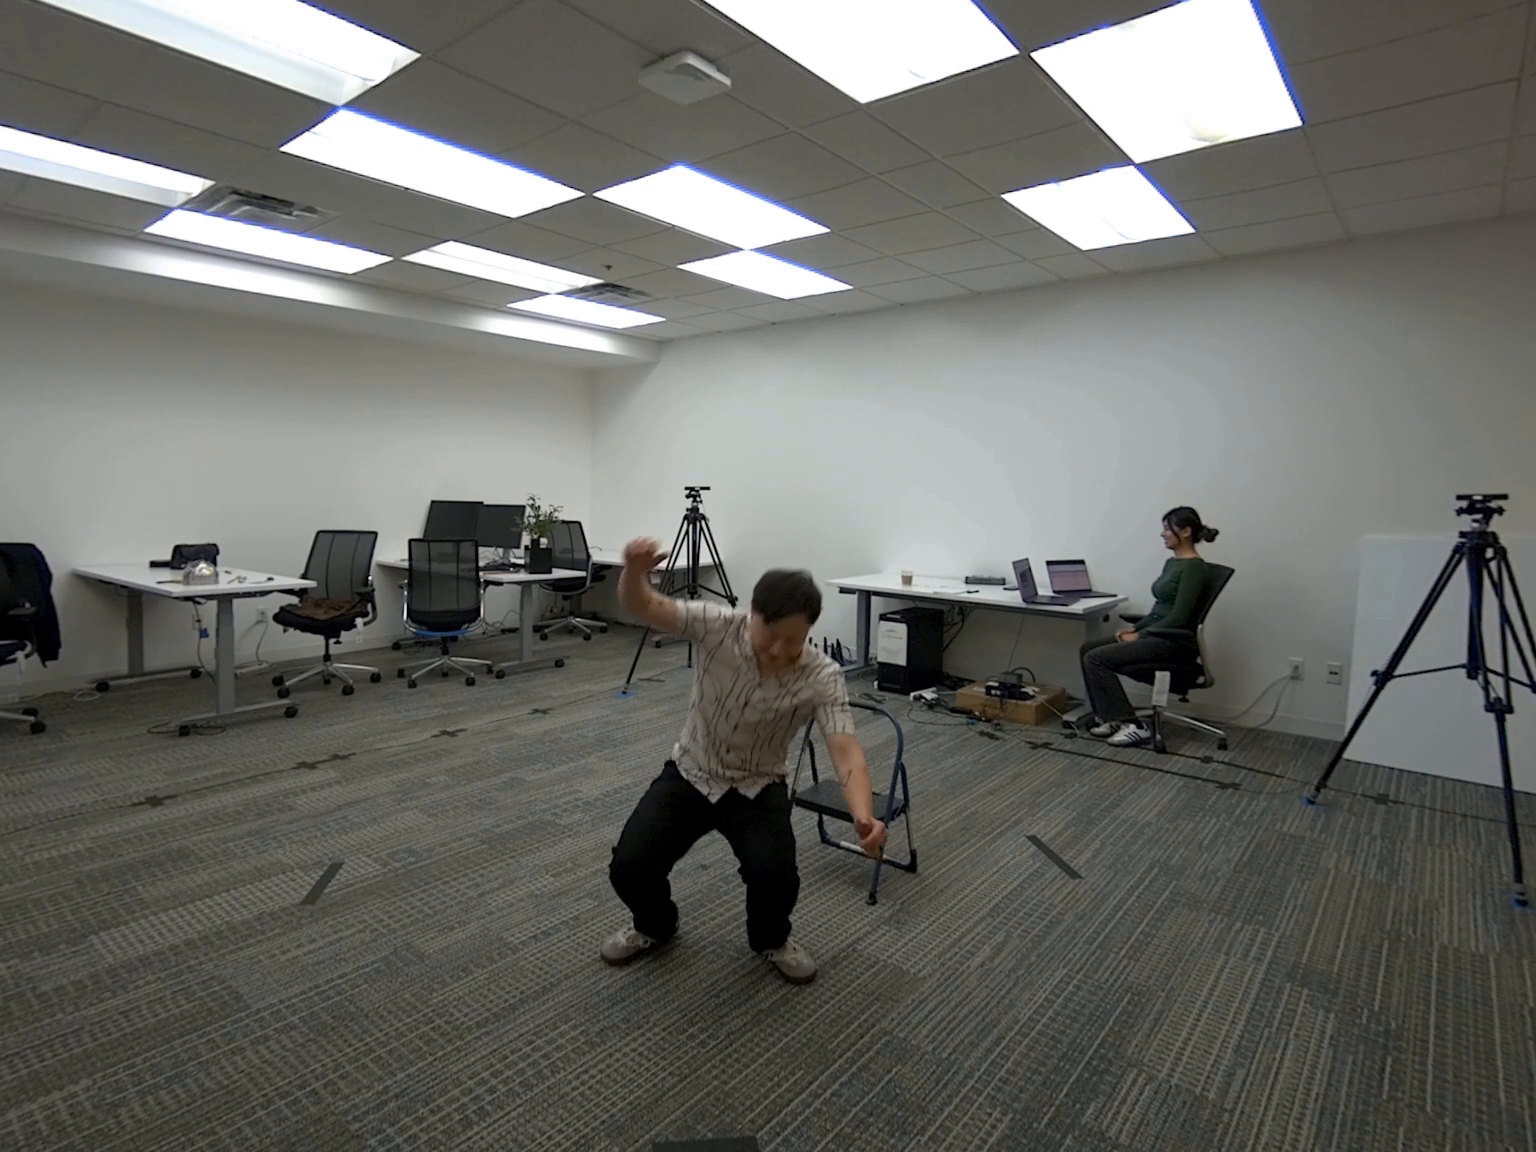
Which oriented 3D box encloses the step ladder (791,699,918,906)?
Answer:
[{"bbox_3d":[0.283,0.770,3.101,0.445,0.604,0.339,4,4,37],"label":"step ladder"}]
